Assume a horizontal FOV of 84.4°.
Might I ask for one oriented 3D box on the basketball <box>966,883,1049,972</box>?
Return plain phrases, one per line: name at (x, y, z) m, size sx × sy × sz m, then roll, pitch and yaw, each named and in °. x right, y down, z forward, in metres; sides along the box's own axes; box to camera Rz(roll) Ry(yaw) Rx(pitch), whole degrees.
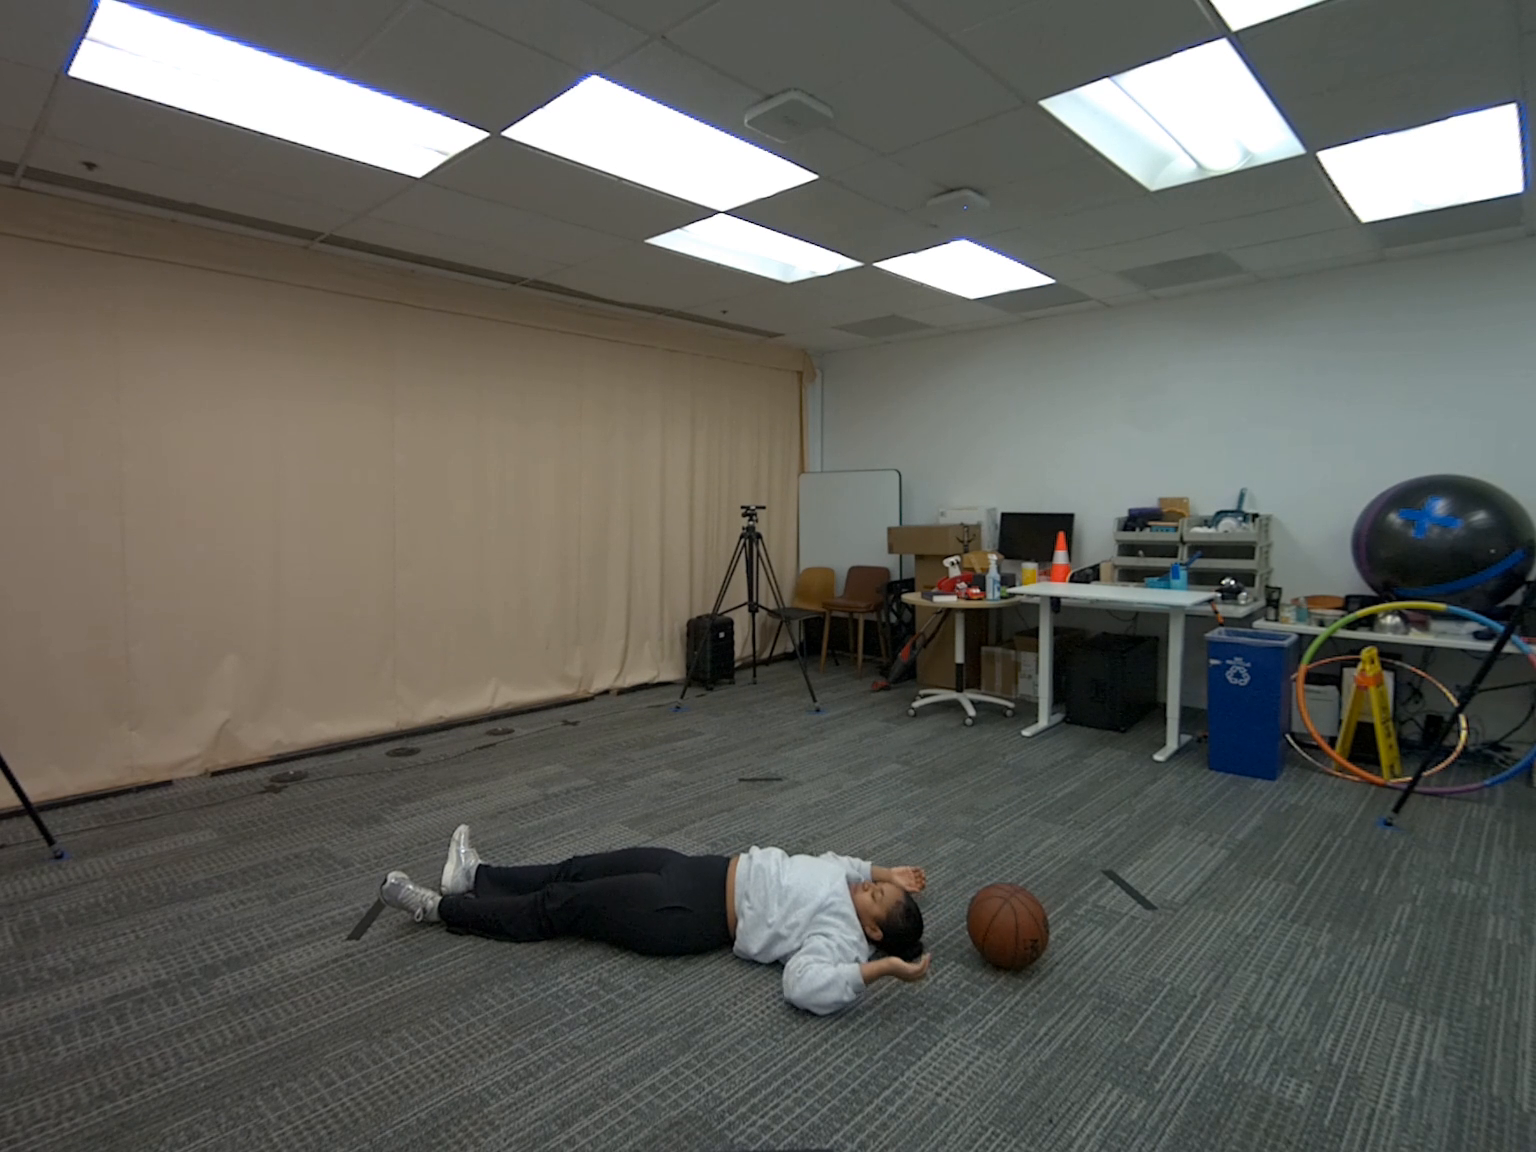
basketball at (0.731, 1.059, 2.552) m, size 0.235 × 0.235 × 0.237 m, roll 1°, pitch 4°, yaw -2°
